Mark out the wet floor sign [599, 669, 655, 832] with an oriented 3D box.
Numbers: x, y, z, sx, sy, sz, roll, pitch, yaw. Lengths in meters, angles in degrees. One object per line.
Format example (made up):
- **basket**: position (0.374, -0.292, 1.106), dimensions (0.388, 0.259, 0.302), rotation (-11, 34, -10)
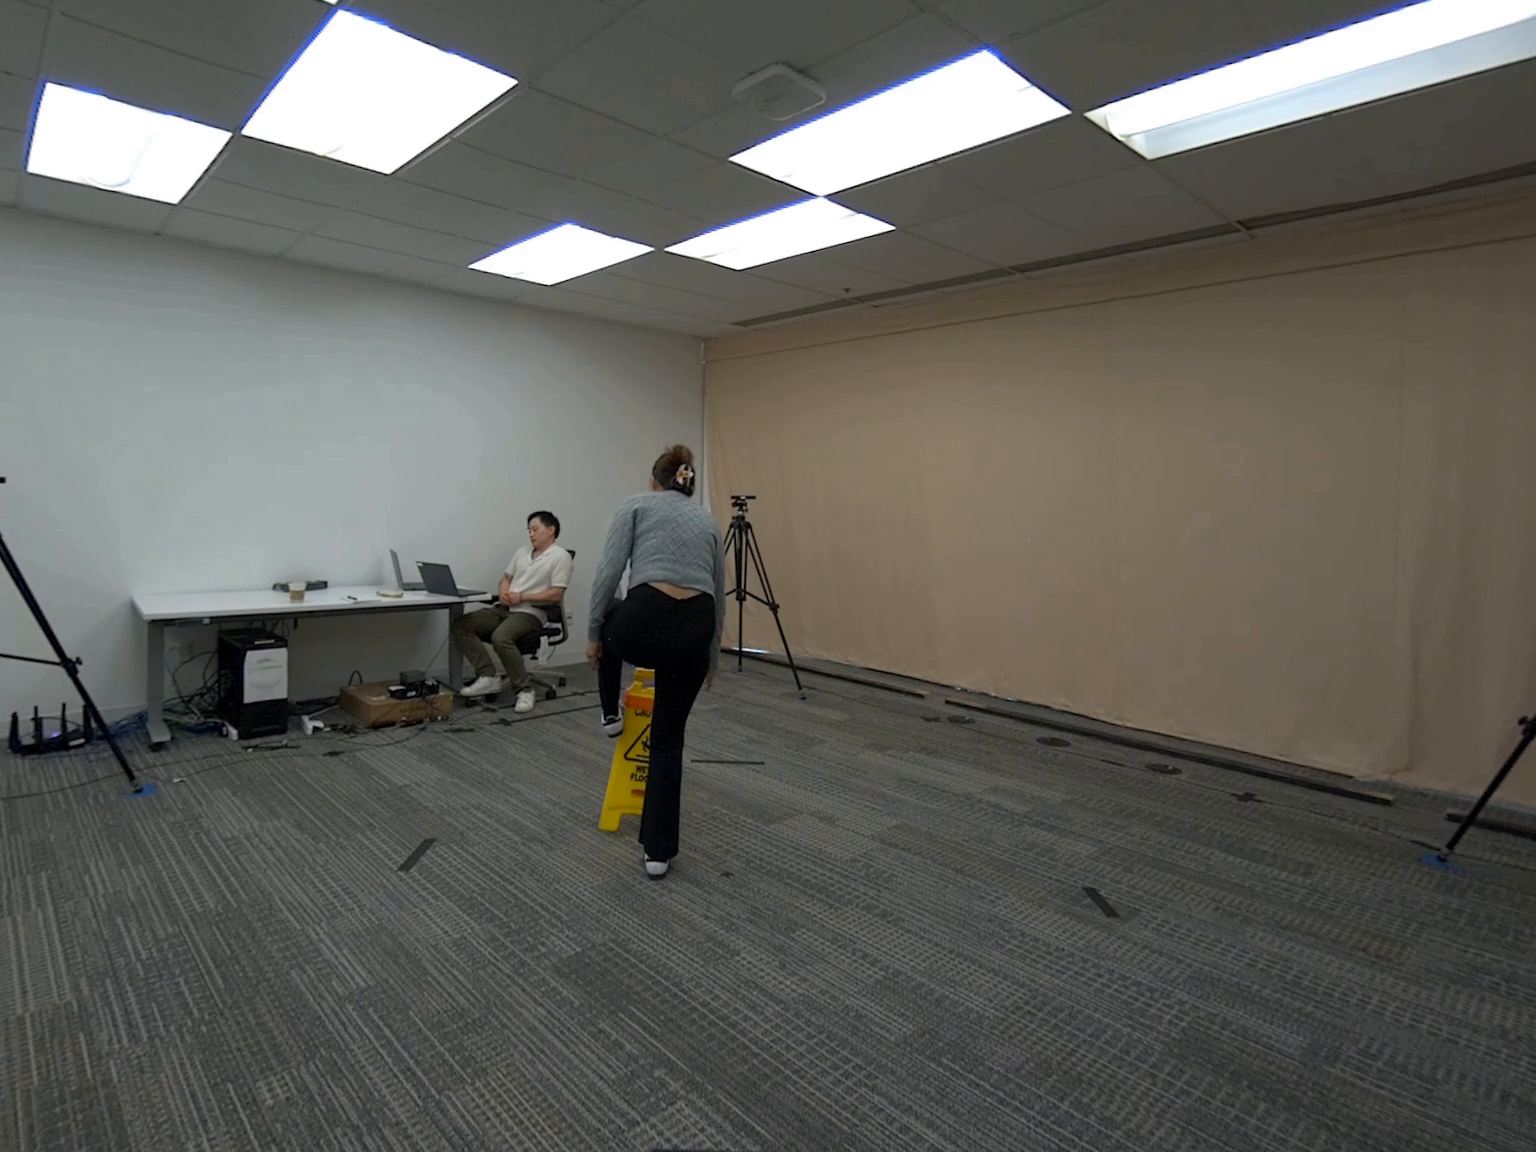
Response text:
- **wet floor sign**: position (-0.507, 0.724, 3.556), dimensions (0.282, 0.645, 0.291), rotation (11, 2, -3)
